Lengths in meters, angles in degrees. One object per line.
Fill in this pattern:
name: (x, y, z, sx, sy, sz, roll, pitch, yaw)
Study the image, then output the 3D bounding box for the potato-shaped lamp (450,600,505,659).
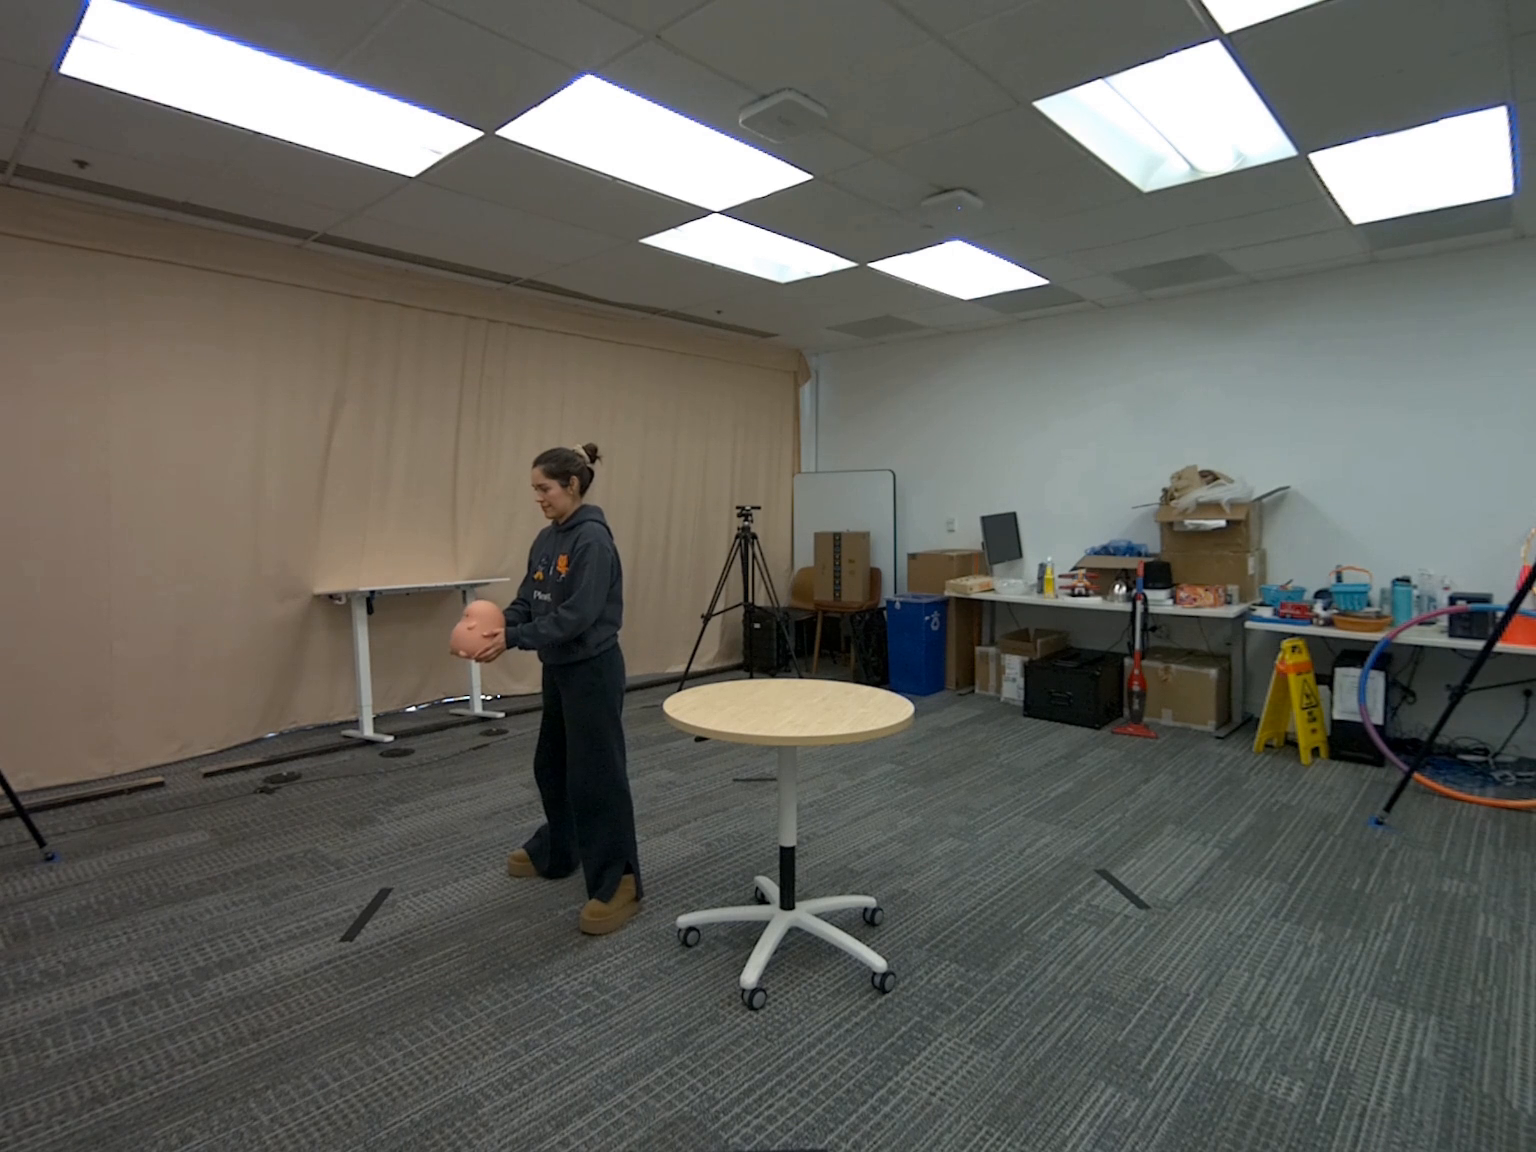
potato-shaped lamp: (-0.960, 0.187, 2.831, 0.166, 0.199, 0.169, 10, -8, -37)
